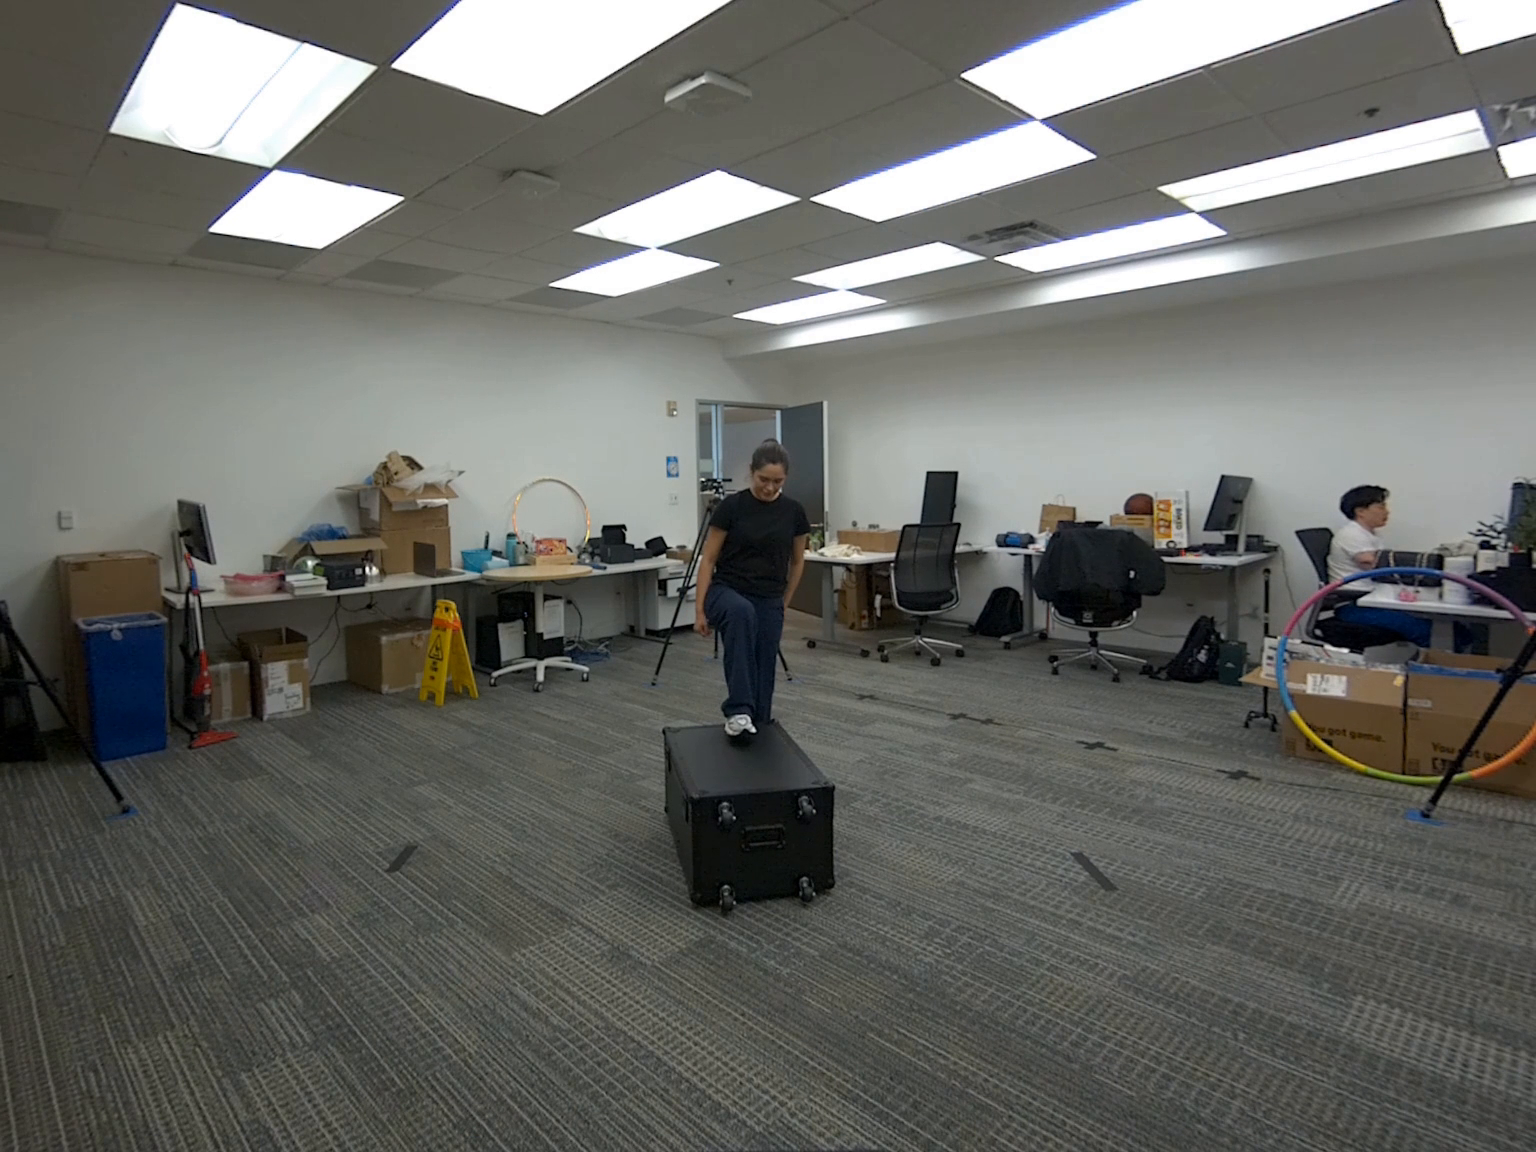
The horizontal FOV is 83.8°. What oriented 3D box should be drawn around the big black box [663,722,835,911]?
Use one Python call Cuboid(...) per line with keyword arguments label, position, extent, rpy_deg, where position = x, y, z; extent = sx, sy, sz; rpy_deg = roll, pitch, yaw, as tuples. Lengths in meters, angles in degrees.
Cuboid(label="big black box", position=(-0.098, 0.842, 3.163), extent=(0.515, 0.394, 0.875), rpy_deg=(-2, 6, -13))
